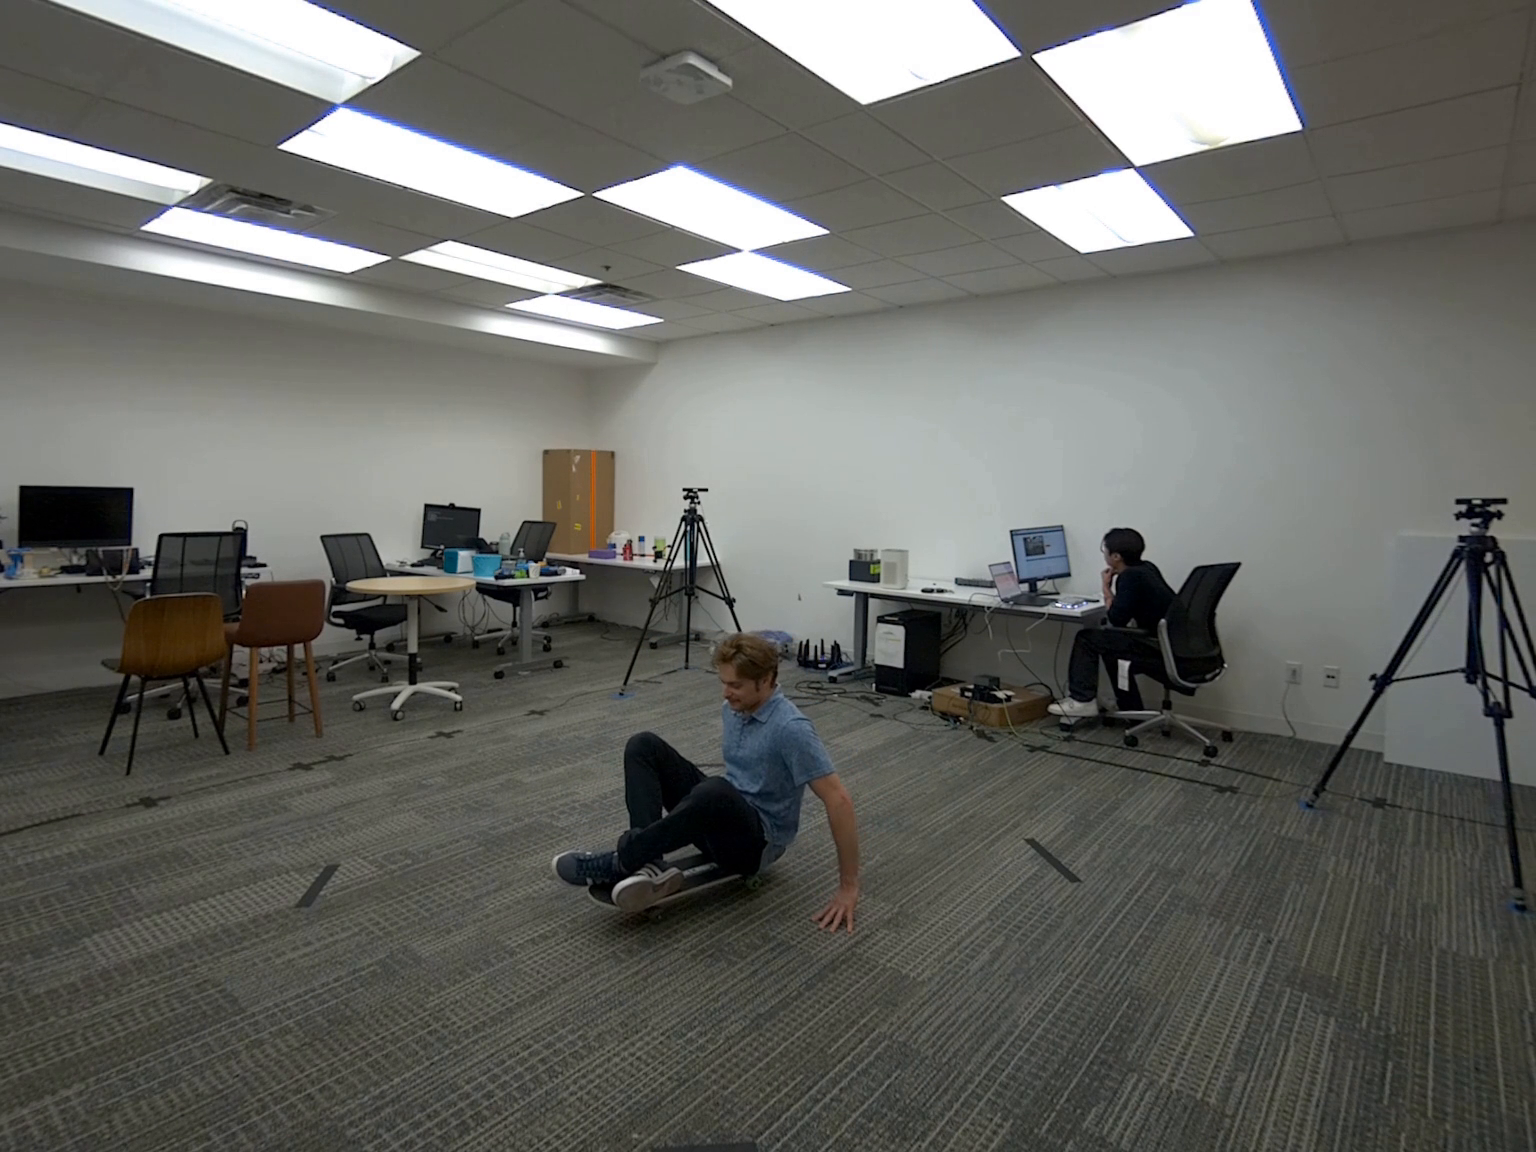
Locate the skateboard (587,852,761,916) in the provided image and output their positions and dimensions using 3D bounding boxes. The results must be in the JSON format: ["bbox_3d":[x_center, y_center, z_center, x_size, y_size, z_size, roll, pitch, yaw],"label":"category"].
[{"bbox_3d":[-0.261,1.045,2.895,0.762,0.109,0.200,-3,11,-39],"label":"skateboard"}]
